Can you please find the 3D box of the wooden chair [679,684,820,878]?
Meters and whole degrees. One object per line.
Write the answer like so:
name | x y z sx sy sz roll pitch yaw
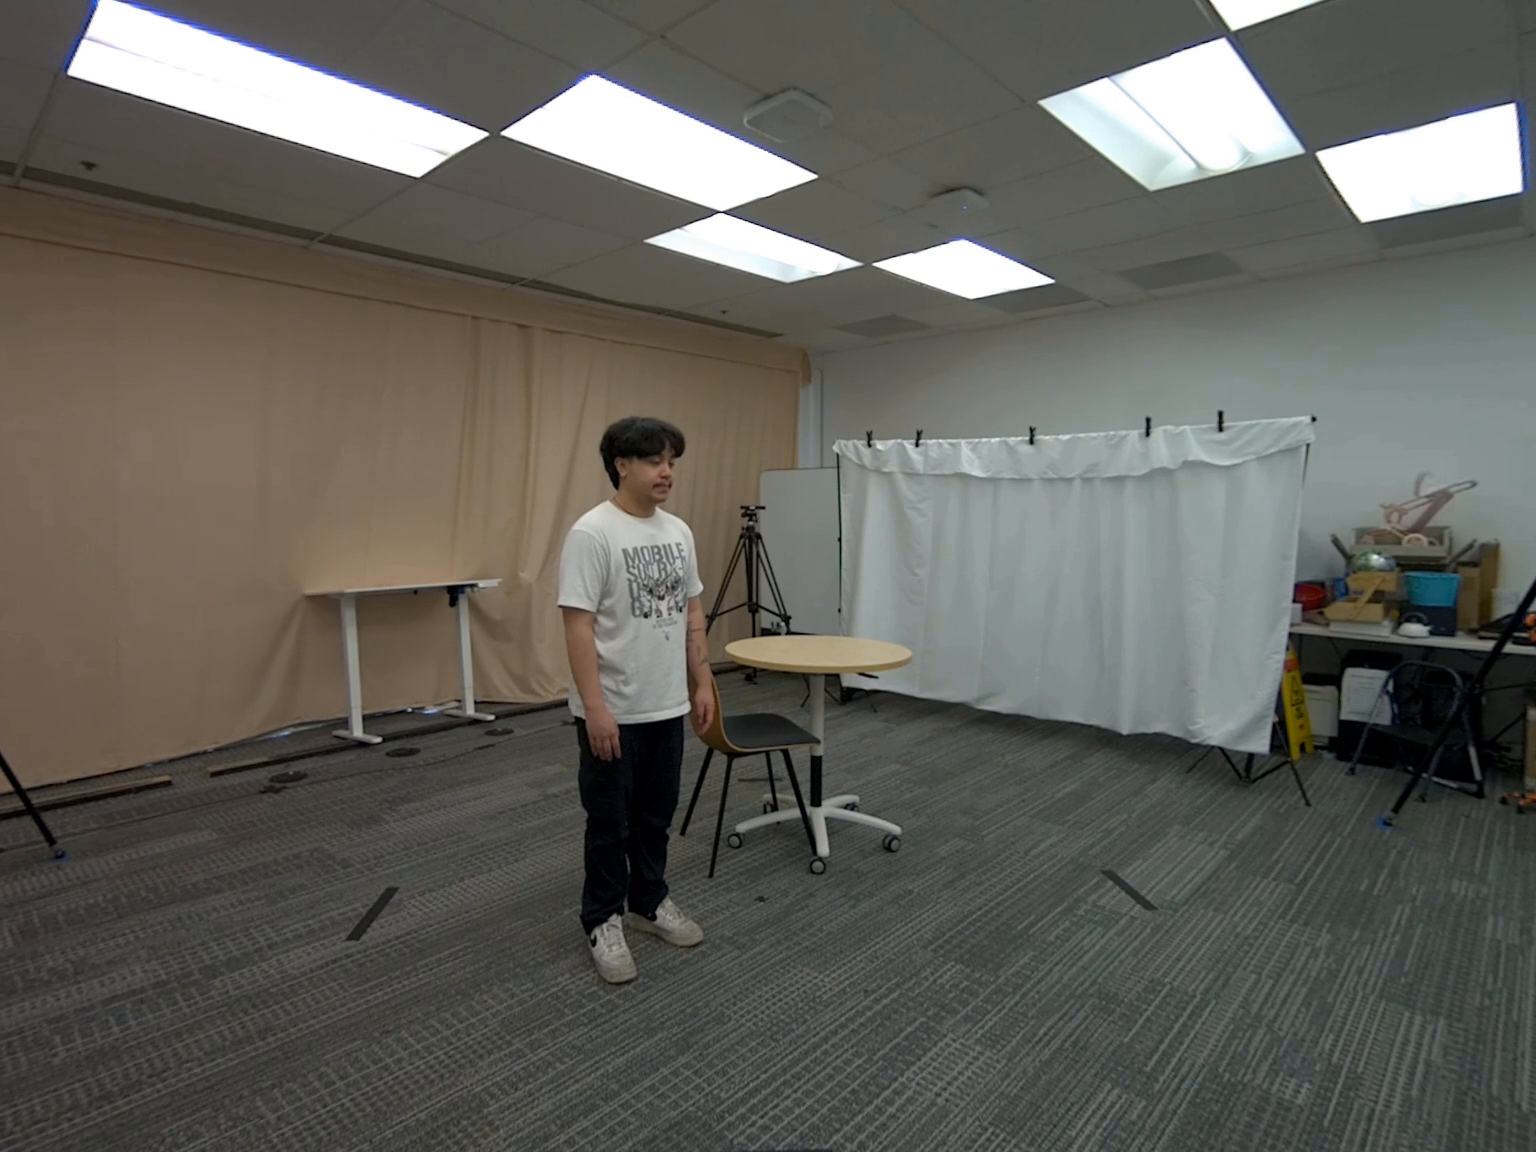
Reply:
wooden chair | -0.079 0.682 3.390 0.514 0.875 0.488 -6 4 -18
